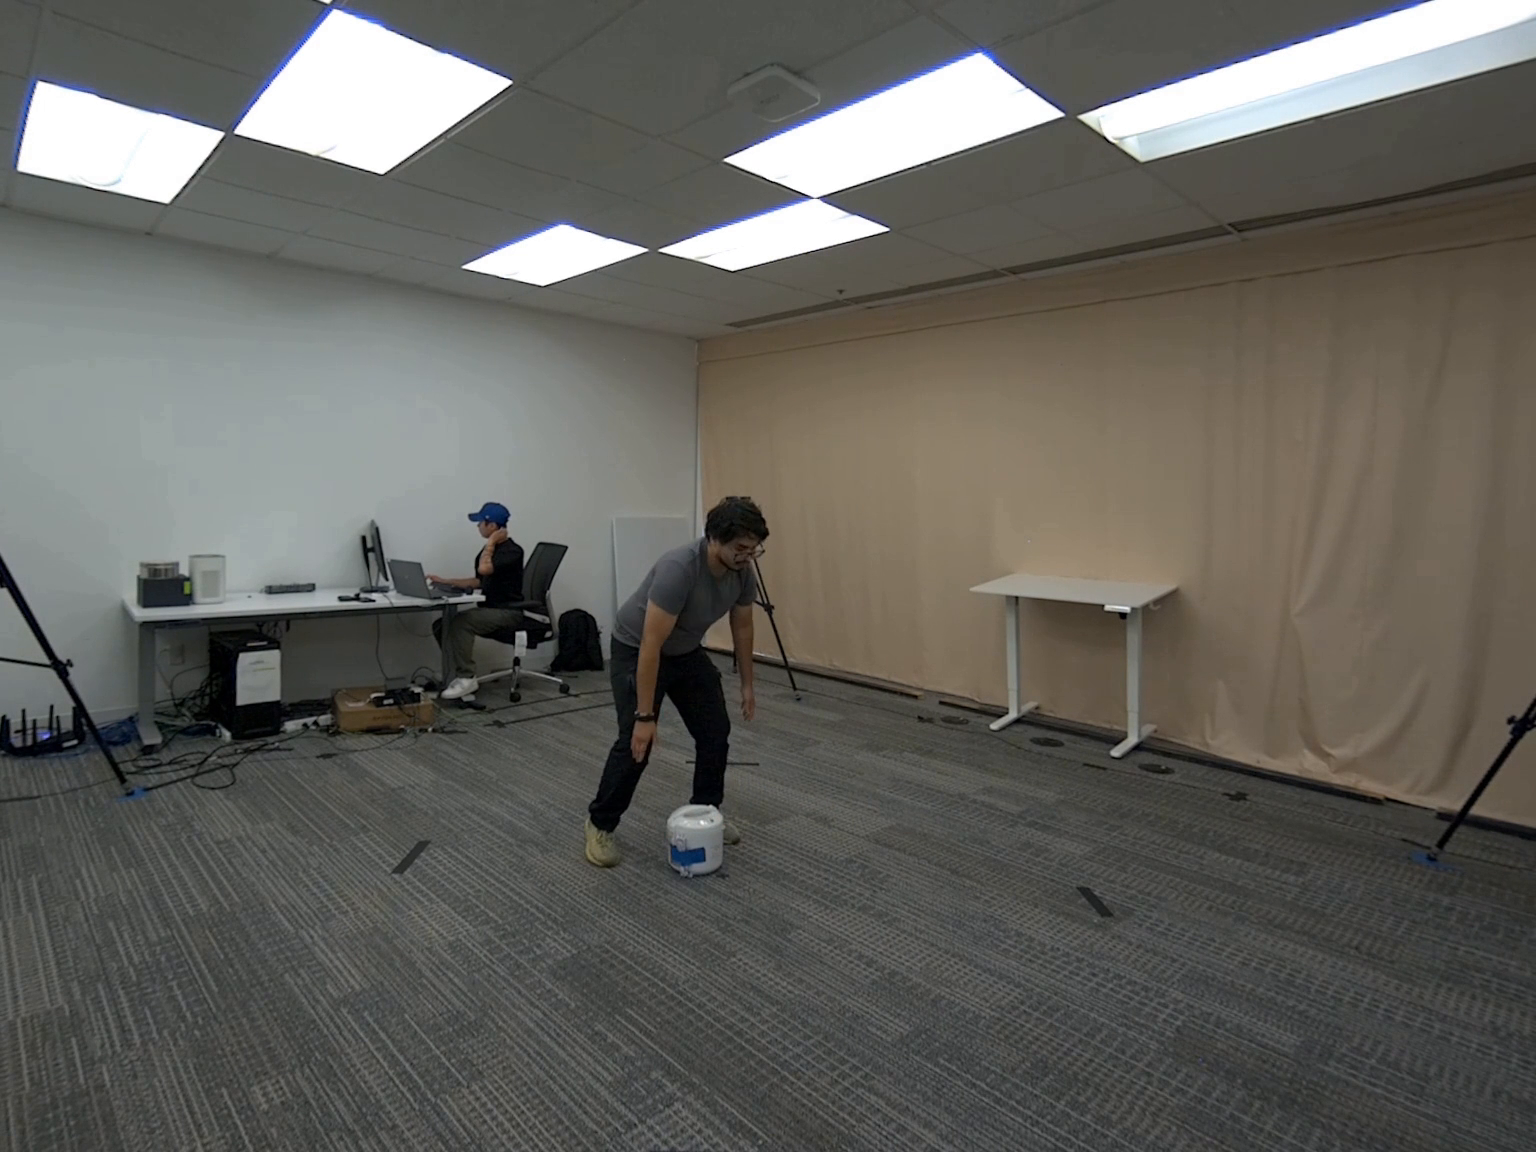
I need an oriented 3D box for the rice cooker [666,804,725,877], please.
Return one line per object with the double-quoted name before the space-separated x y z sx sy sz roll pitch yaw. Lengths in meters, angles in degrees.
"rice cooker" -0.279 0.989 3.168 0.217 0.232 0.222 1 5 -24
